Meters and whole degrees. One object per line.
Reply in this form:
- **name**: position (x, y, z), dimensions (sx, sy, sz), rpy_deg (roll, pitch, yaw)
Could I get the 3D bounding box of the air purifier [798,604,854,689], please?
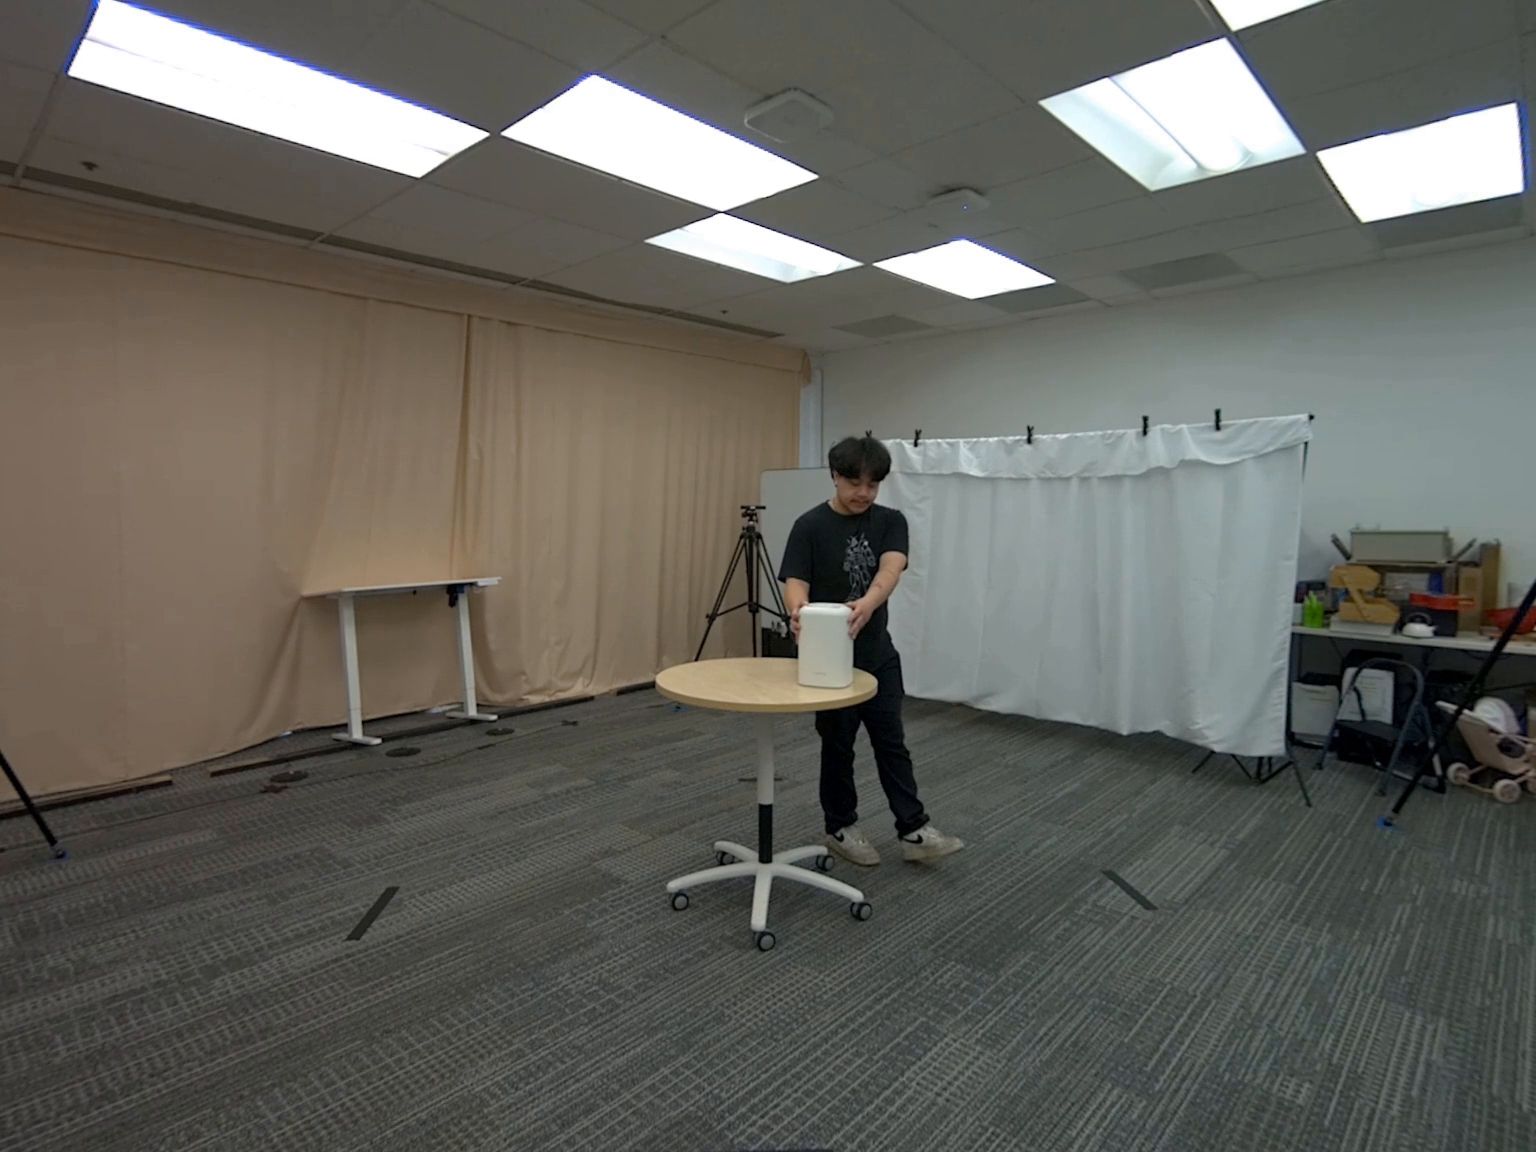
- **air purifier**: position (0.198, 0.231, 2.848), dimensions (0.175, 0.265, 0.168), rpy_deg (2, 4, 20)
